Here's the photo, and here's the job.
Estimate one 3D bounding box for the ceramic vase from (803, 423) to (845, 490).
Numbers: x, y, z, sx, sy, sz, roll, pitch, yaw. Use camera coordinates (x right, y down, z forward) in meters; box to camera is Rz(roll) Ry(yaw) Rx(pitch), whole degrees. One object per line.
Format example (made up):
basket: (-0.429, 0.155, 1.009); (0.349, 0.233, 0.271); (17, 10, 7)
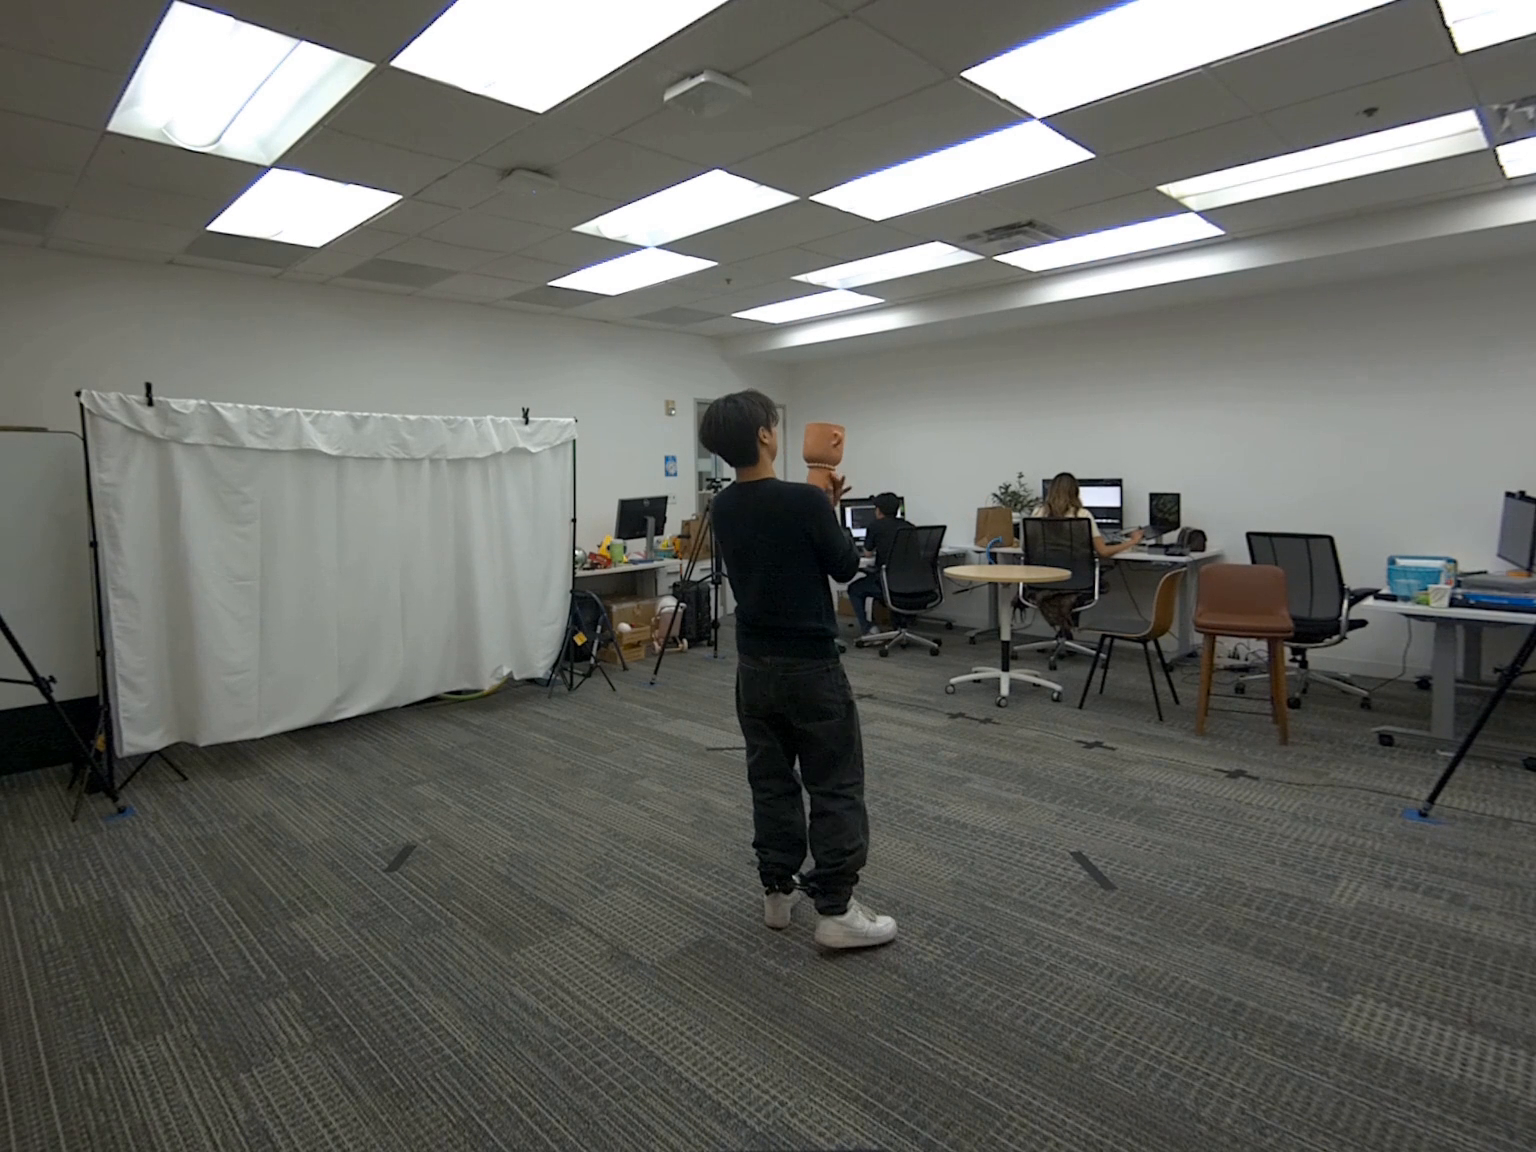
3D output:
ceramic vase: (0.188, -0.392, 2.828); (0.137, 0.220, 0.156); (5, -1, 13)
